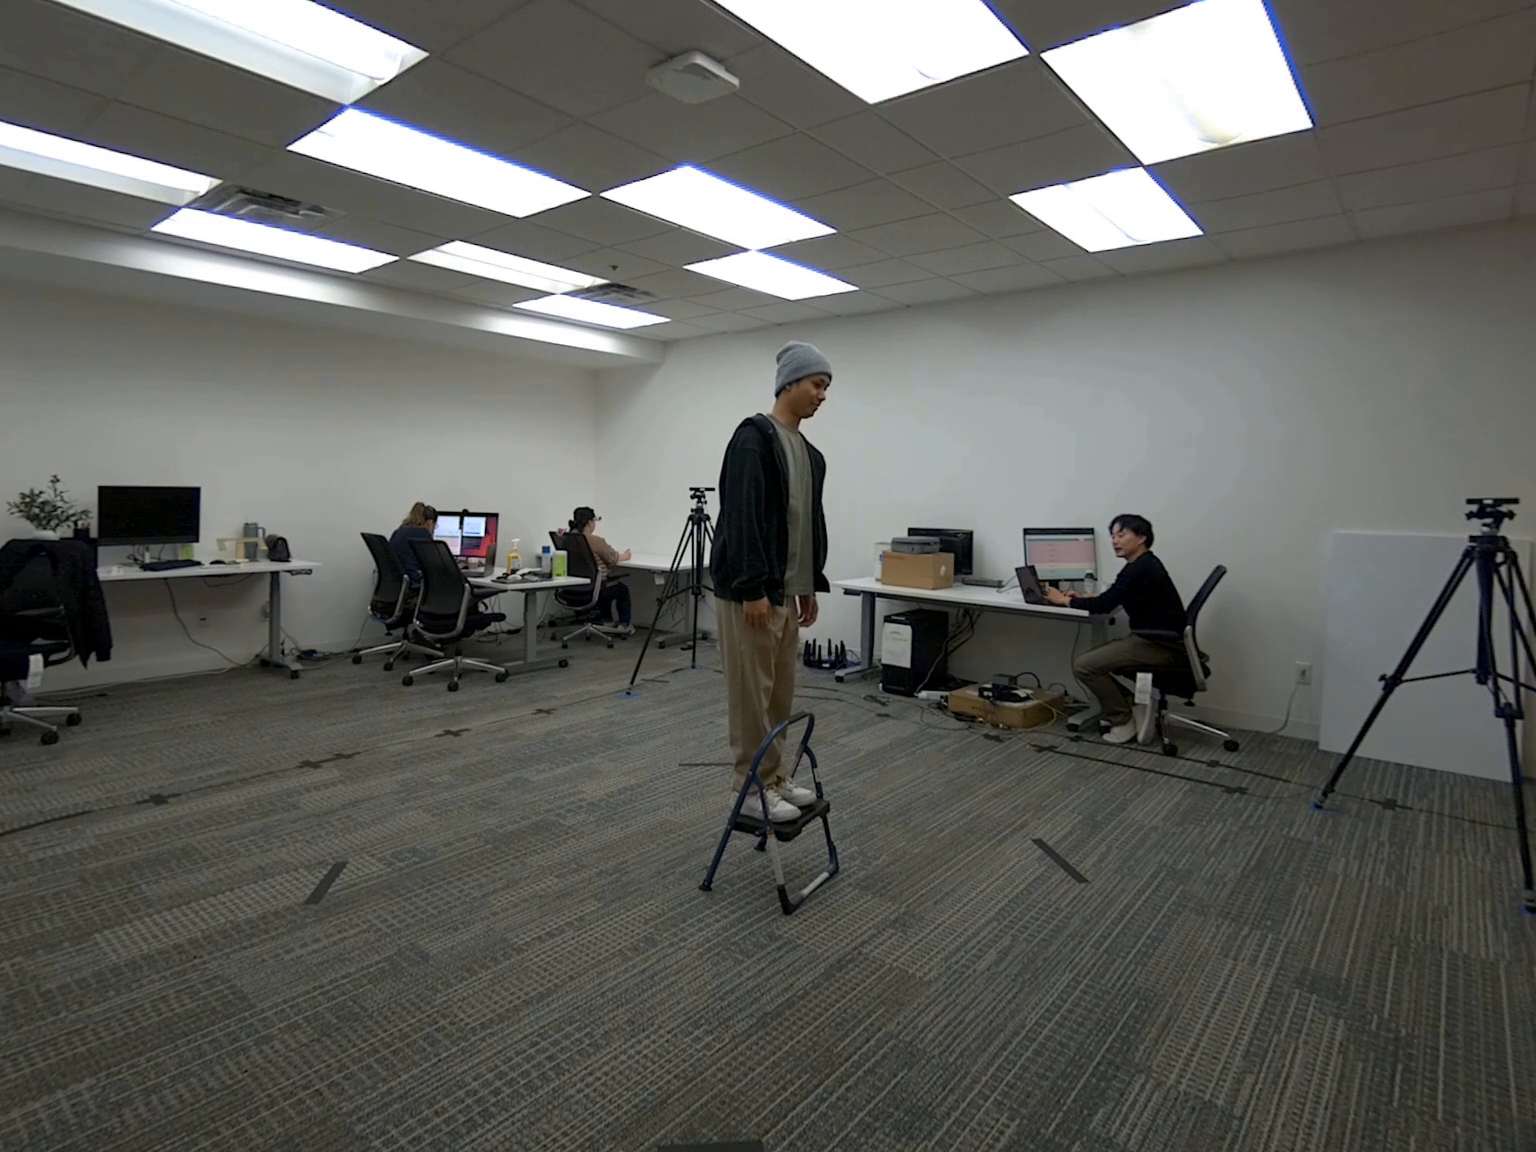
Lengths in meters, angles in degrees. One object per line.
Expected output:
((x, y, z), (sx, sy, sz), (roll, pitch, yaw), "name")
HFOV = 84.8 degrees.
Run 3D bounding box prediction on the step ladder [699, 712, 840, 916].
((0.015, 0.779, 3.017), (0.359, 0.604, 0.419), (4, 4, 29), "step ladder")
